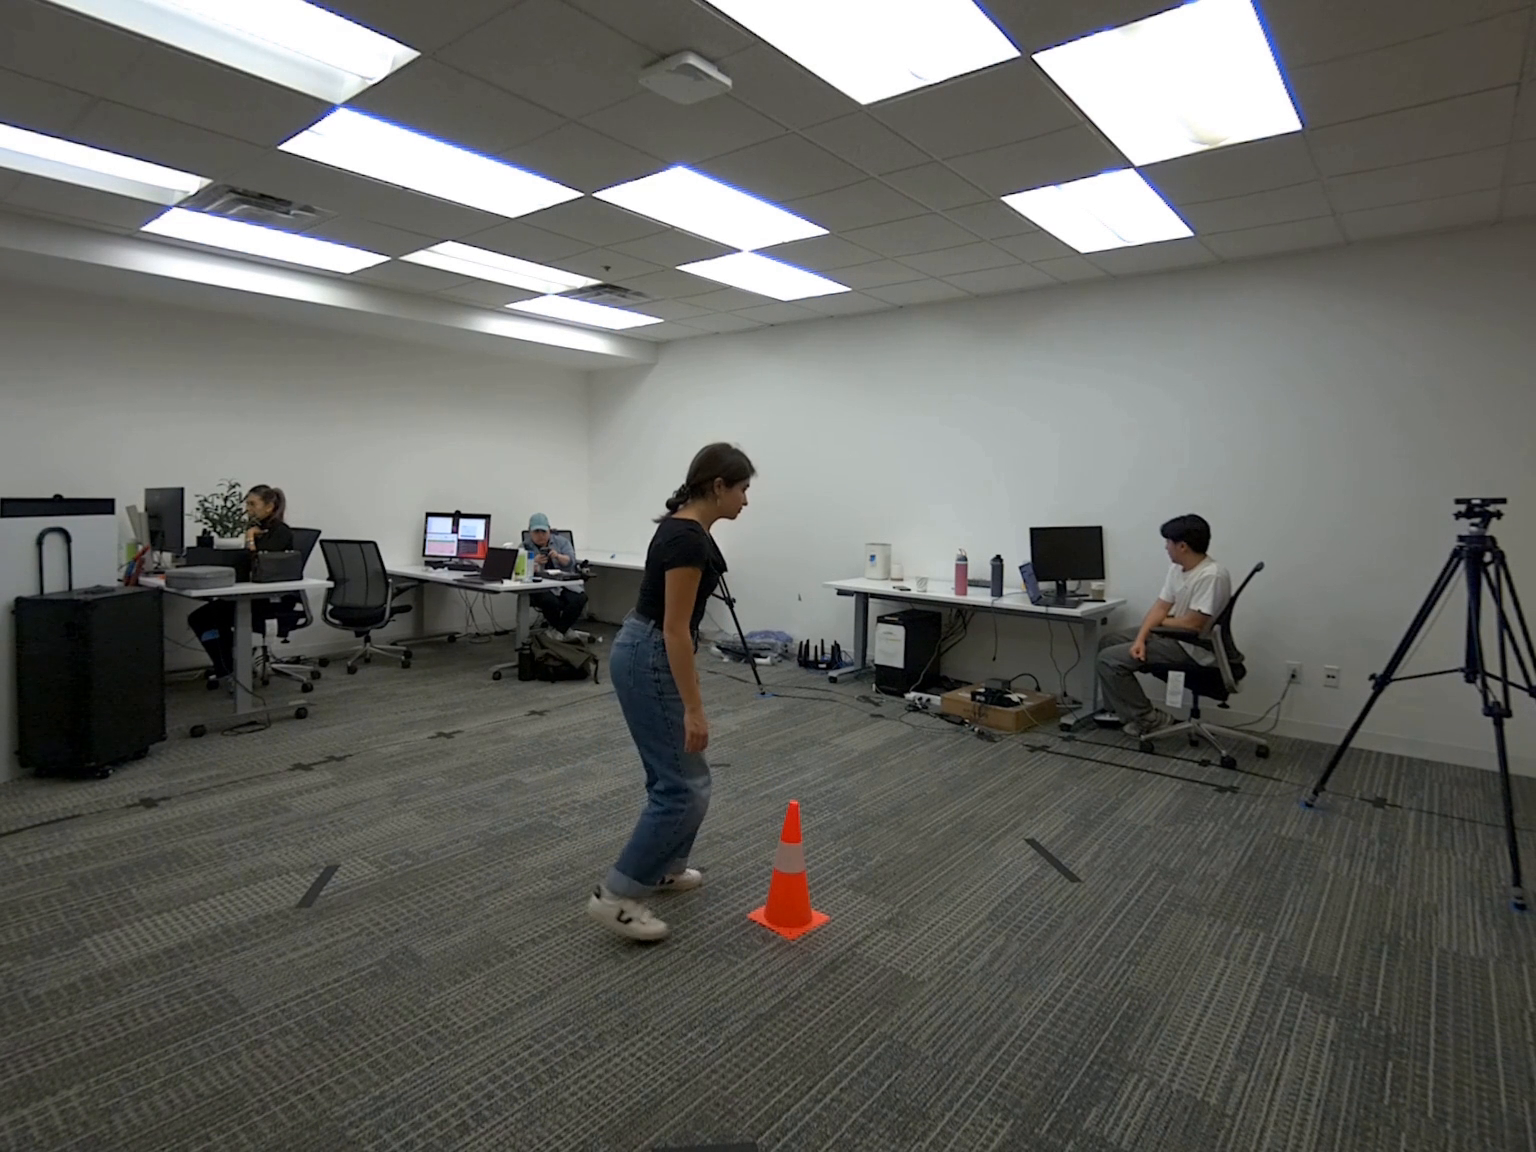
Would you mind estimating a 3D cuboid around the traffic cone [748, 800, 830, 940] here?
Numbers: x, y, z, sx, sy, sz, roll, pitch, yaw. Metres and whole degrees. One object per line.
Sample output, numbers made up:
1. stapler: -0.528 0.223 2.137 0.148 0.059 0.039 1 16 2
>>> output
1. traffic cone: 0.073 0.919 2.769 0.210 0.383 0.199 4 3 42
